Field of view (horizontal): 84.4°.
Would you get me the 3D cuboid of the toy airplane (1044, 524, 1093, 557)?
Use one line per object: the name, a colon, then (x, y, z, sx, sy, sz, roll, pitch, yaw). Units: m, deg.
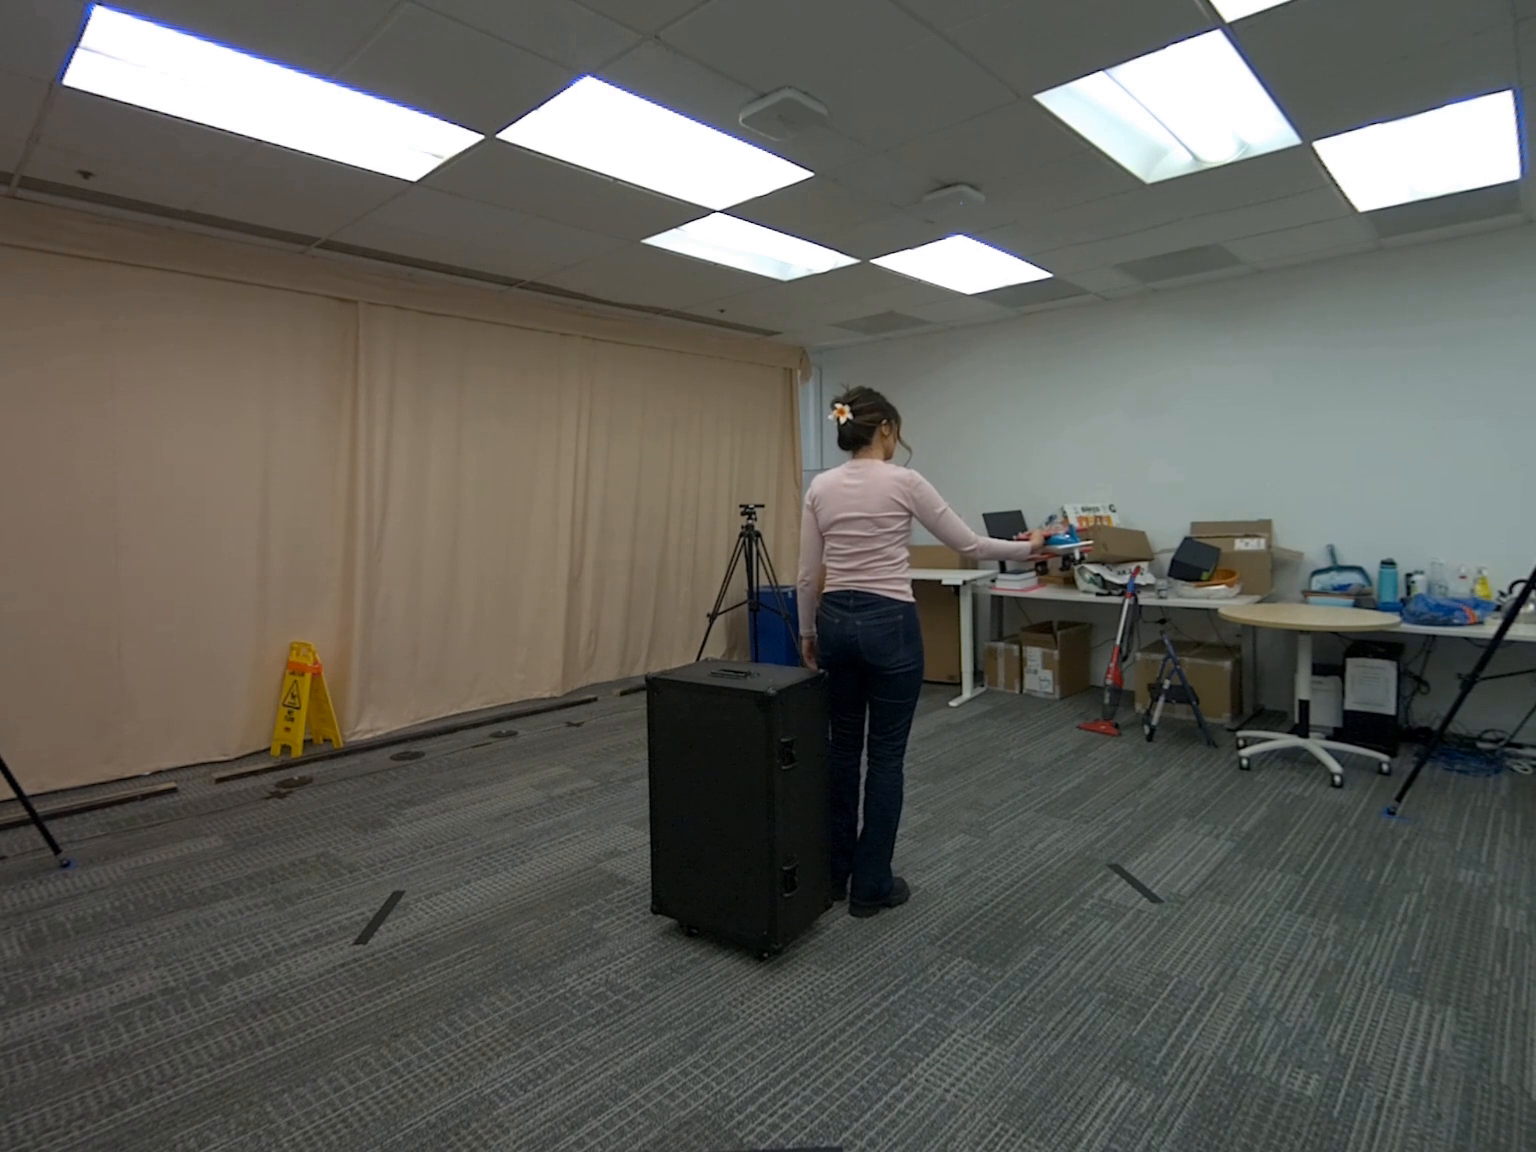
toy airplane: (1.059, -0.104, 2.945, 0.244, 0.158, 0.263, -2, -17, -35)
